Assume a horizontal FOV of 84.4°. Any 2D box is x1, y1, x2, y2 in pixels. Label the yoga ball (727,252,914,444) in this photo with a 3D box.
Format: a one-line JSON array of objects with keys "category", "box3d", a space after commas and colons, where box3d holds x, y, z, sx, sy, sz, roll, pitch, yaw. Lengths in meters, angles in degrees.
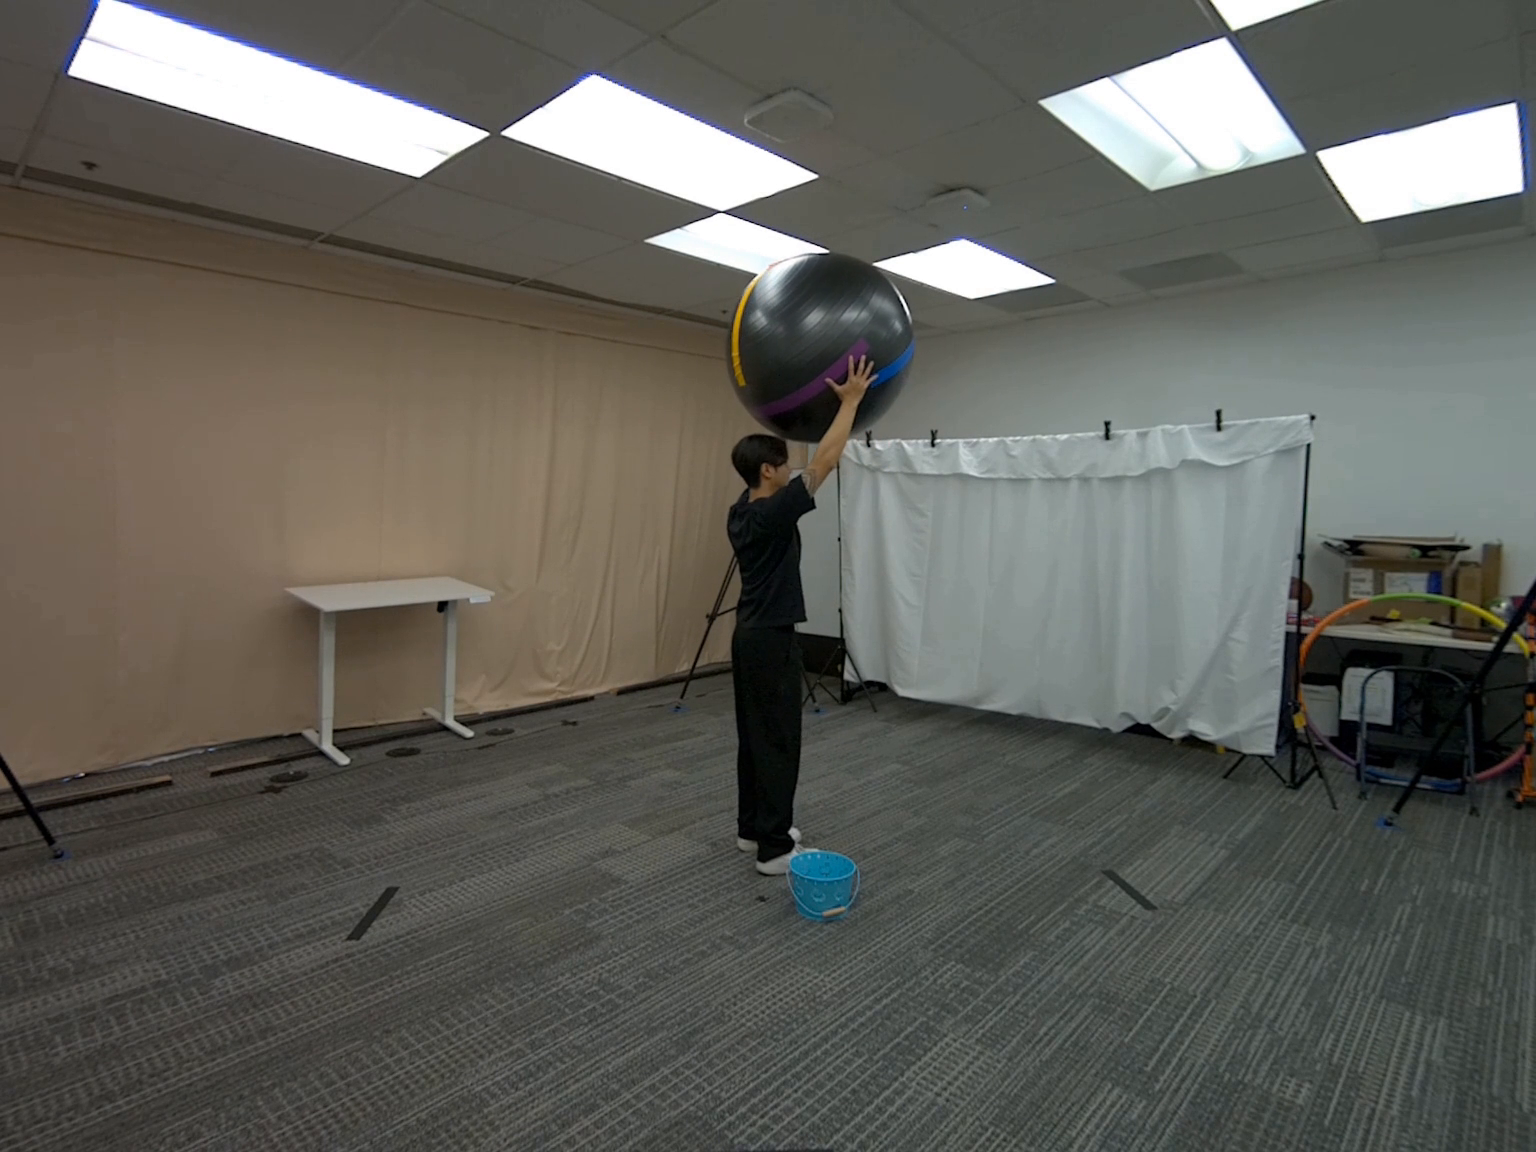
[{"category": "yoga ball", "box3d": [0.211, -0.916, 3.431, 0.757, 0.756, 0.760, 0, 4, -2]}]
